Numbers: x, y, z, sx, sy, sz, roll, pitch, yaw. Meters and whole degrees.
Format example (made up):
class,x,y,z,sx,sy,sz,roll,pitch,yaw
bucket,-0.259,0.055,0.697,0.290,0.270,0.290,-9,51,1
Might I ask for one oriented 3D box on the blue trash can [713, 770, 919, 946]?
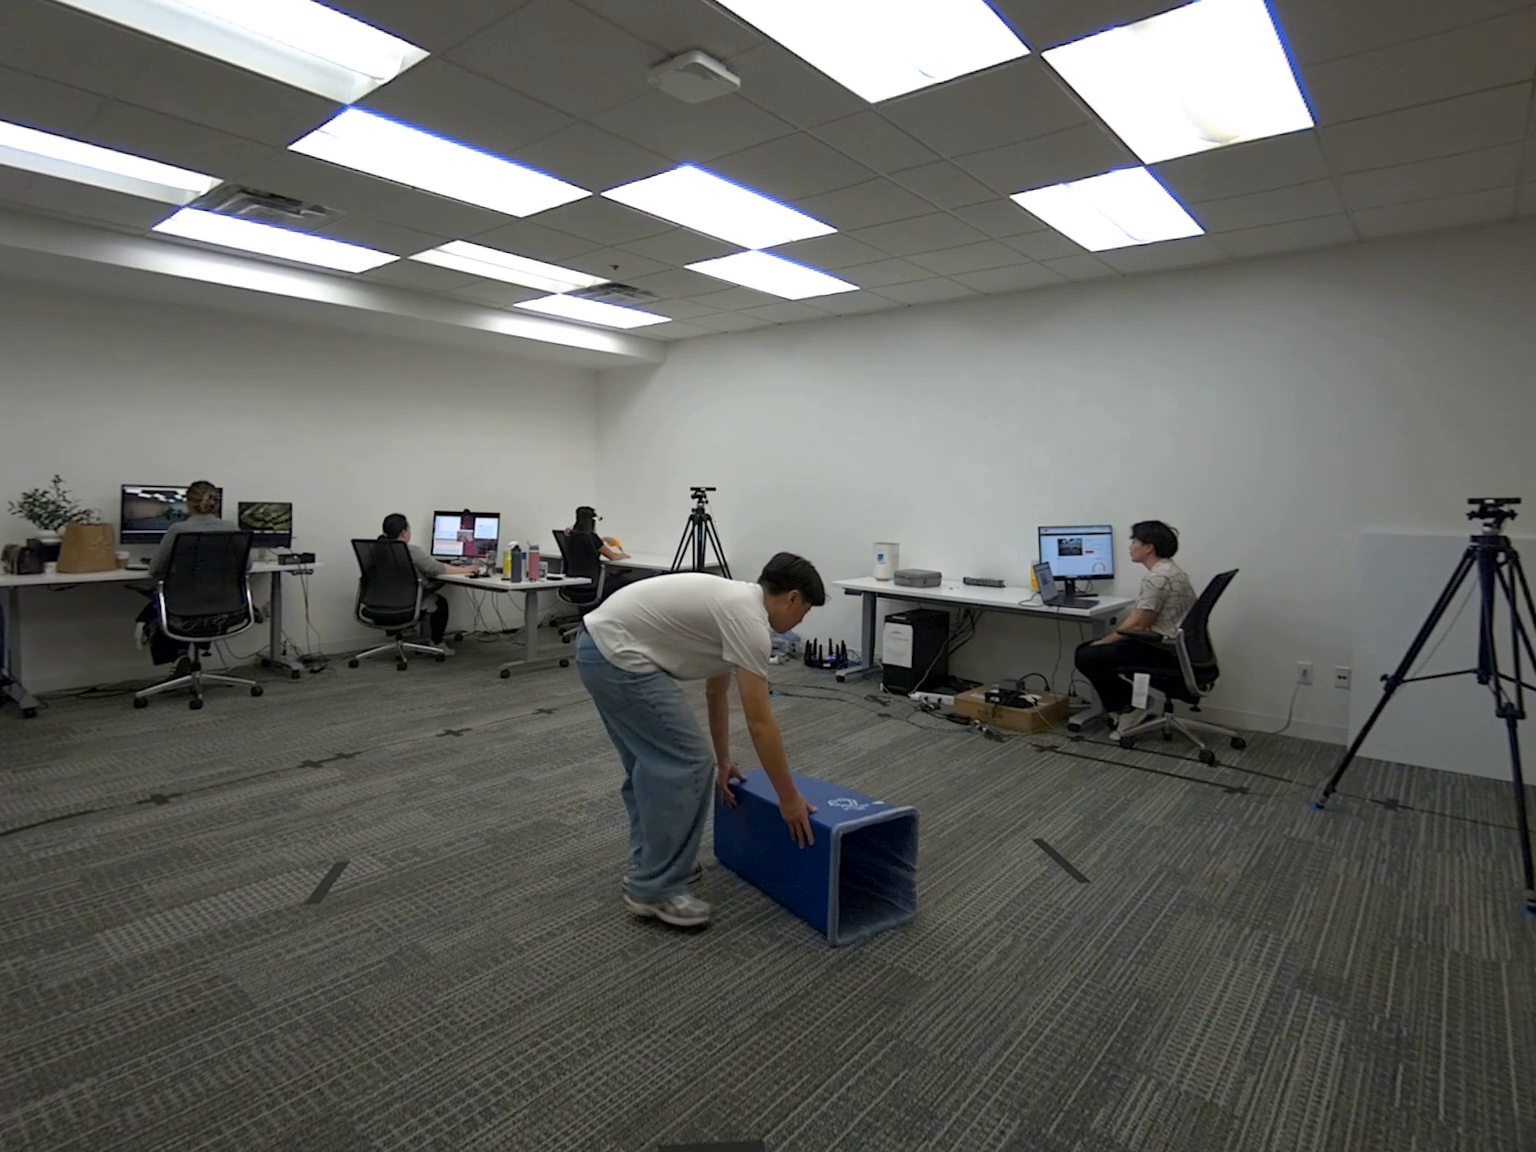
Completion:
class,x,y,z,sx,sy,sz,roll,pitch,yaw
blue trash can,0.120,0.921,2.963,0.363,0.378,0.736,-1,2,-36
